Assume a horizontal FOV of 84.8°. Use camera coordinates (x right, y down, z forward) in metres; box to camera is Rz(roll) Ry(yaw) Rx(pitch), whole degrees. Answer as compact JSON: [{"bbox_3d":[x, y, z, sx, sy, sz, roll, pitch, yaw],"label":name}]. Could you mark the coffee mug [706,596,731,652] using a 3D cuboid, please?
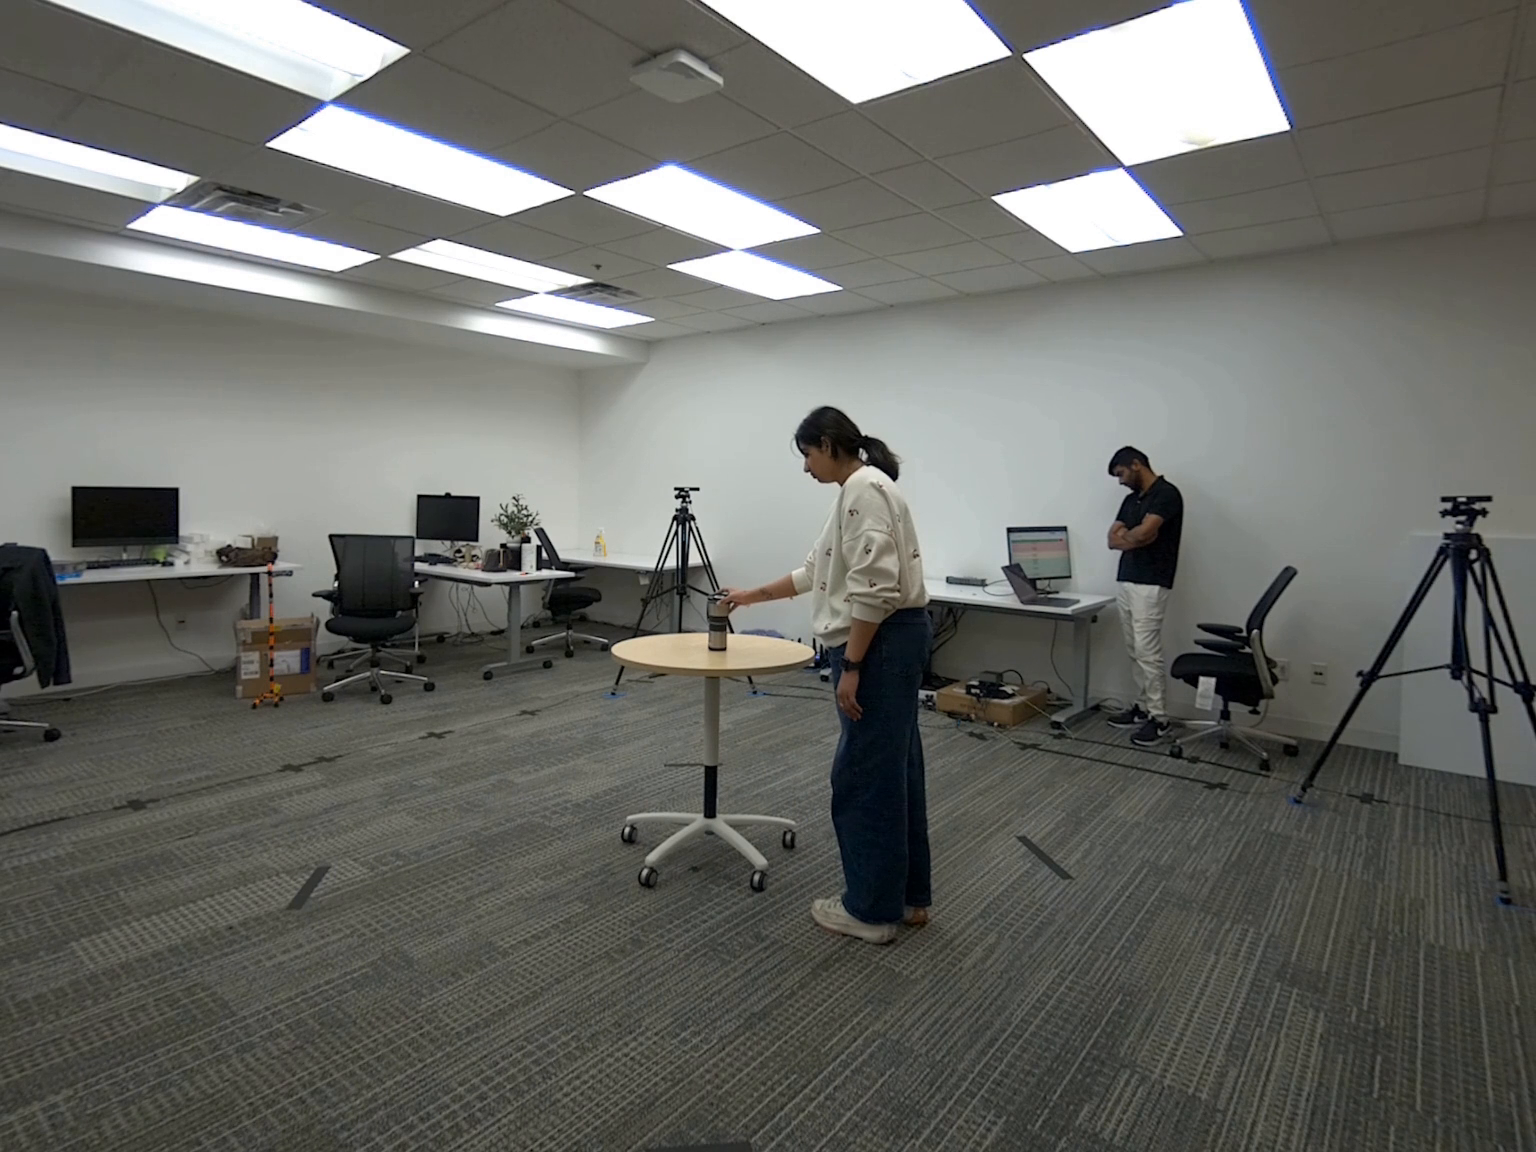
[{"bbox_3d":[-0.182,0.175,3.216,0.090,0.202,0.119,3,7,31],"label":"coffee mug"}]
